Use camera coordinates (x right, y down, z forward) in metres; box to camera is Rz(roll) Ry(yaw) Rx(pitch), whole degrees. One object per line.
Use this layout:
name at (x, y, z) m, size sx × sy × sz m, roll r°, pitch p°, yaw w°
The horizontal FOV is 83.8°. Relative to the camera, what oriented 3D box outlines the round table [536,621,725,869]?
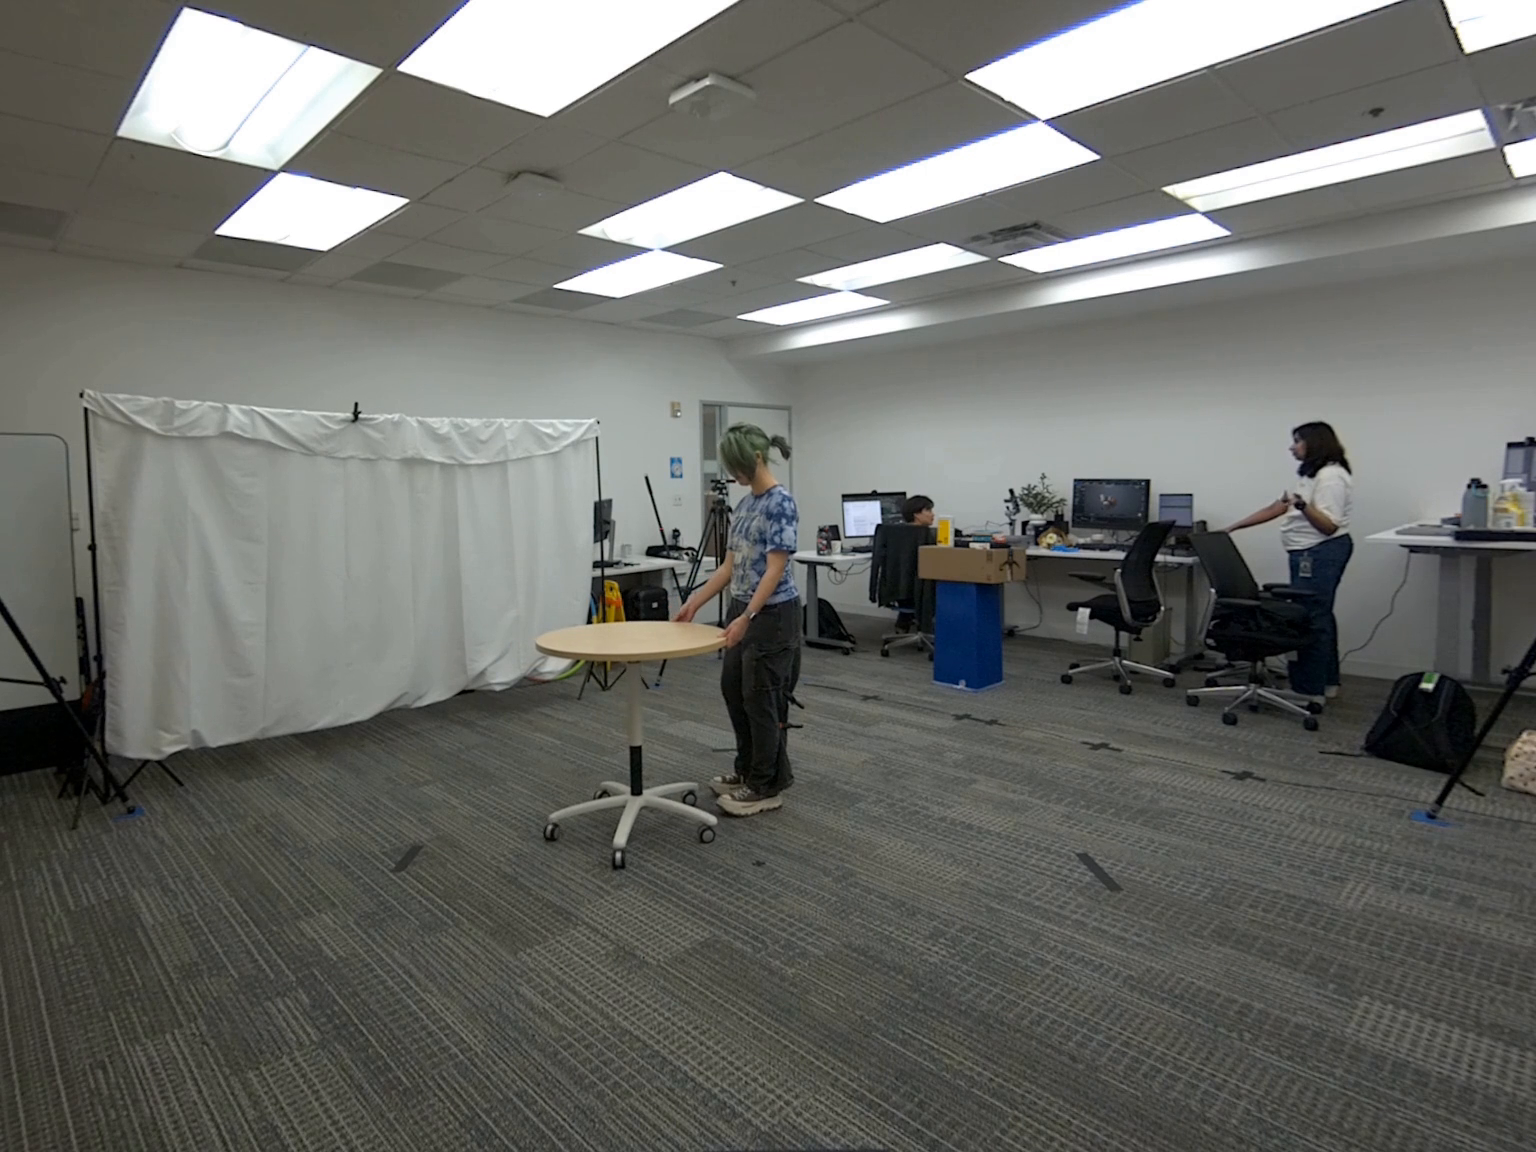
round table at (-0.532, 0.634, 3.419) m, size 0.763 × 0.791 × 0.767 m, roll -1°, pitch 4°, yaw -2°
